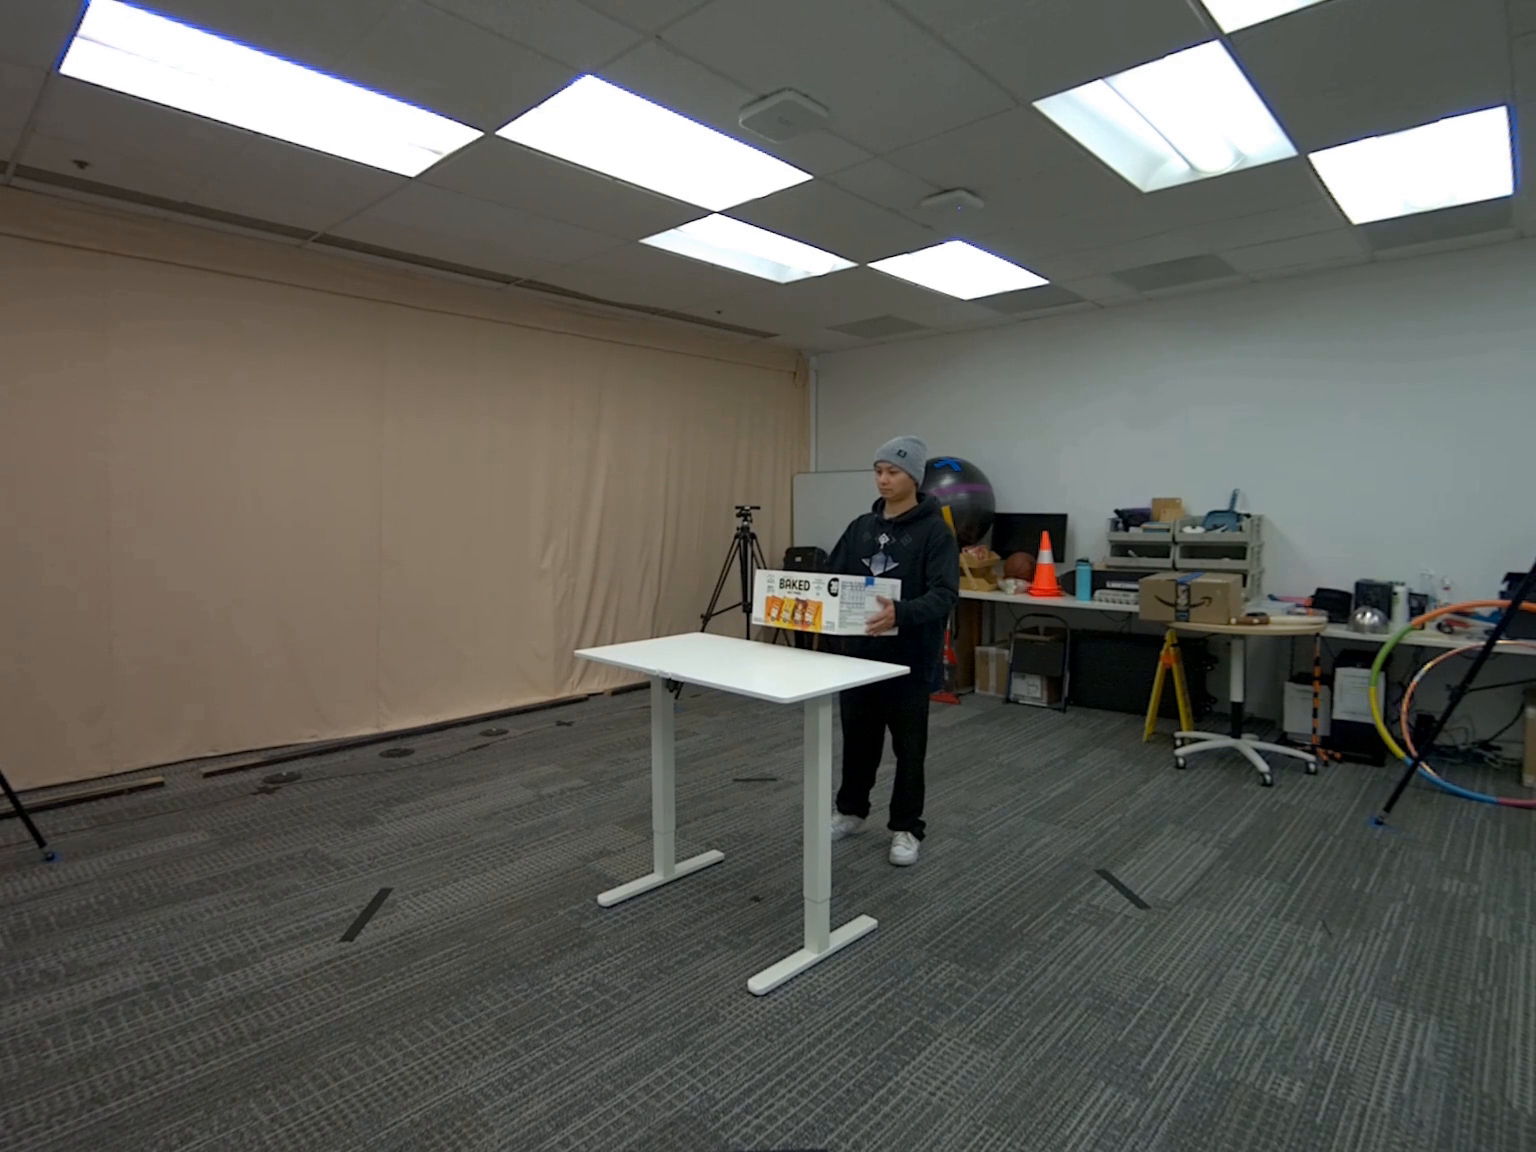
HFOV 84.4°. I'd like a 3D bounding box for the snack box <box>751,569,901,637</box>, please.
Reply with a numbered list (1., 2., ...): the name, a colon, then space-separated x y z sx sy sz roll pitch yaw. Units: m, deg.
1. snack box: 0.213 0.096 3.070 0.329 0.206 0.419 3 1 -43
